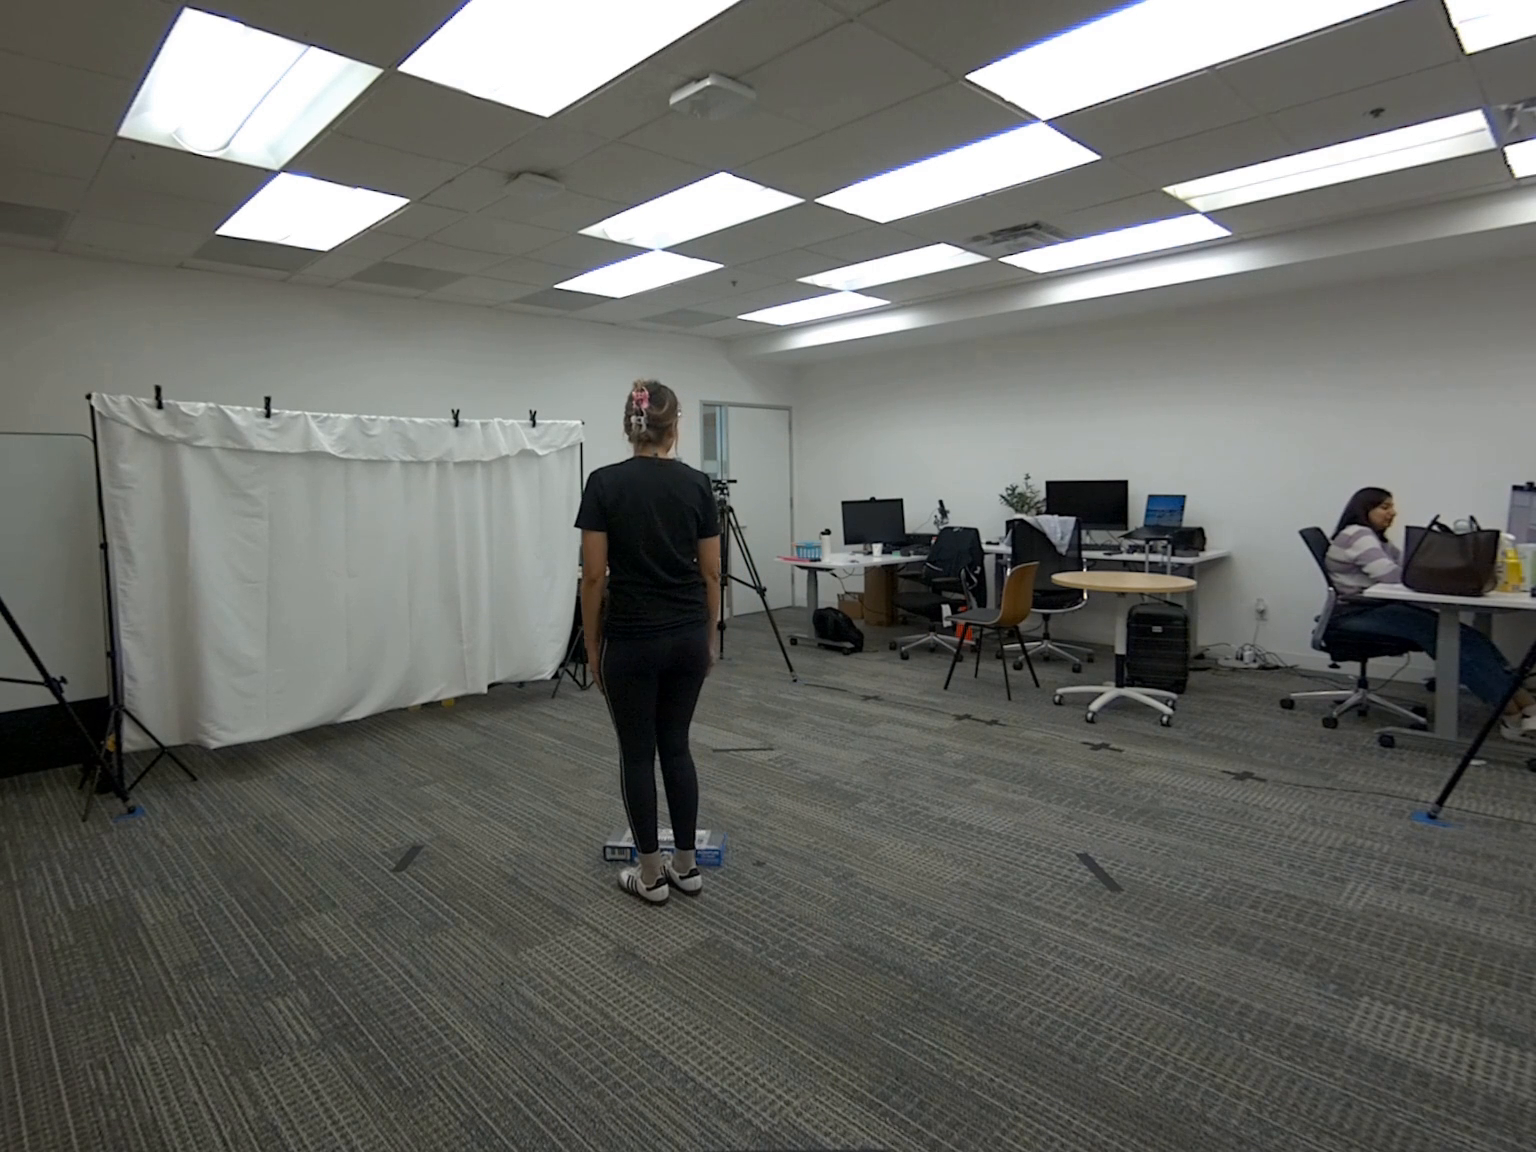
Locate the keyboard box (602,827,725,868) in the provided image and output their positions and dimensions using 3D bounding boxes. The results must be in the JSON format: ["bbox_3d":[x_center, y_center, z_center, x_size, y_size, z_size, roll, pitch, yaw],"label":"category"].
[{"bbox_3d":[-0.381,1.012,3.204,0.440,0.059,0.175,0,5,6],"label":"keyboard box"}]
